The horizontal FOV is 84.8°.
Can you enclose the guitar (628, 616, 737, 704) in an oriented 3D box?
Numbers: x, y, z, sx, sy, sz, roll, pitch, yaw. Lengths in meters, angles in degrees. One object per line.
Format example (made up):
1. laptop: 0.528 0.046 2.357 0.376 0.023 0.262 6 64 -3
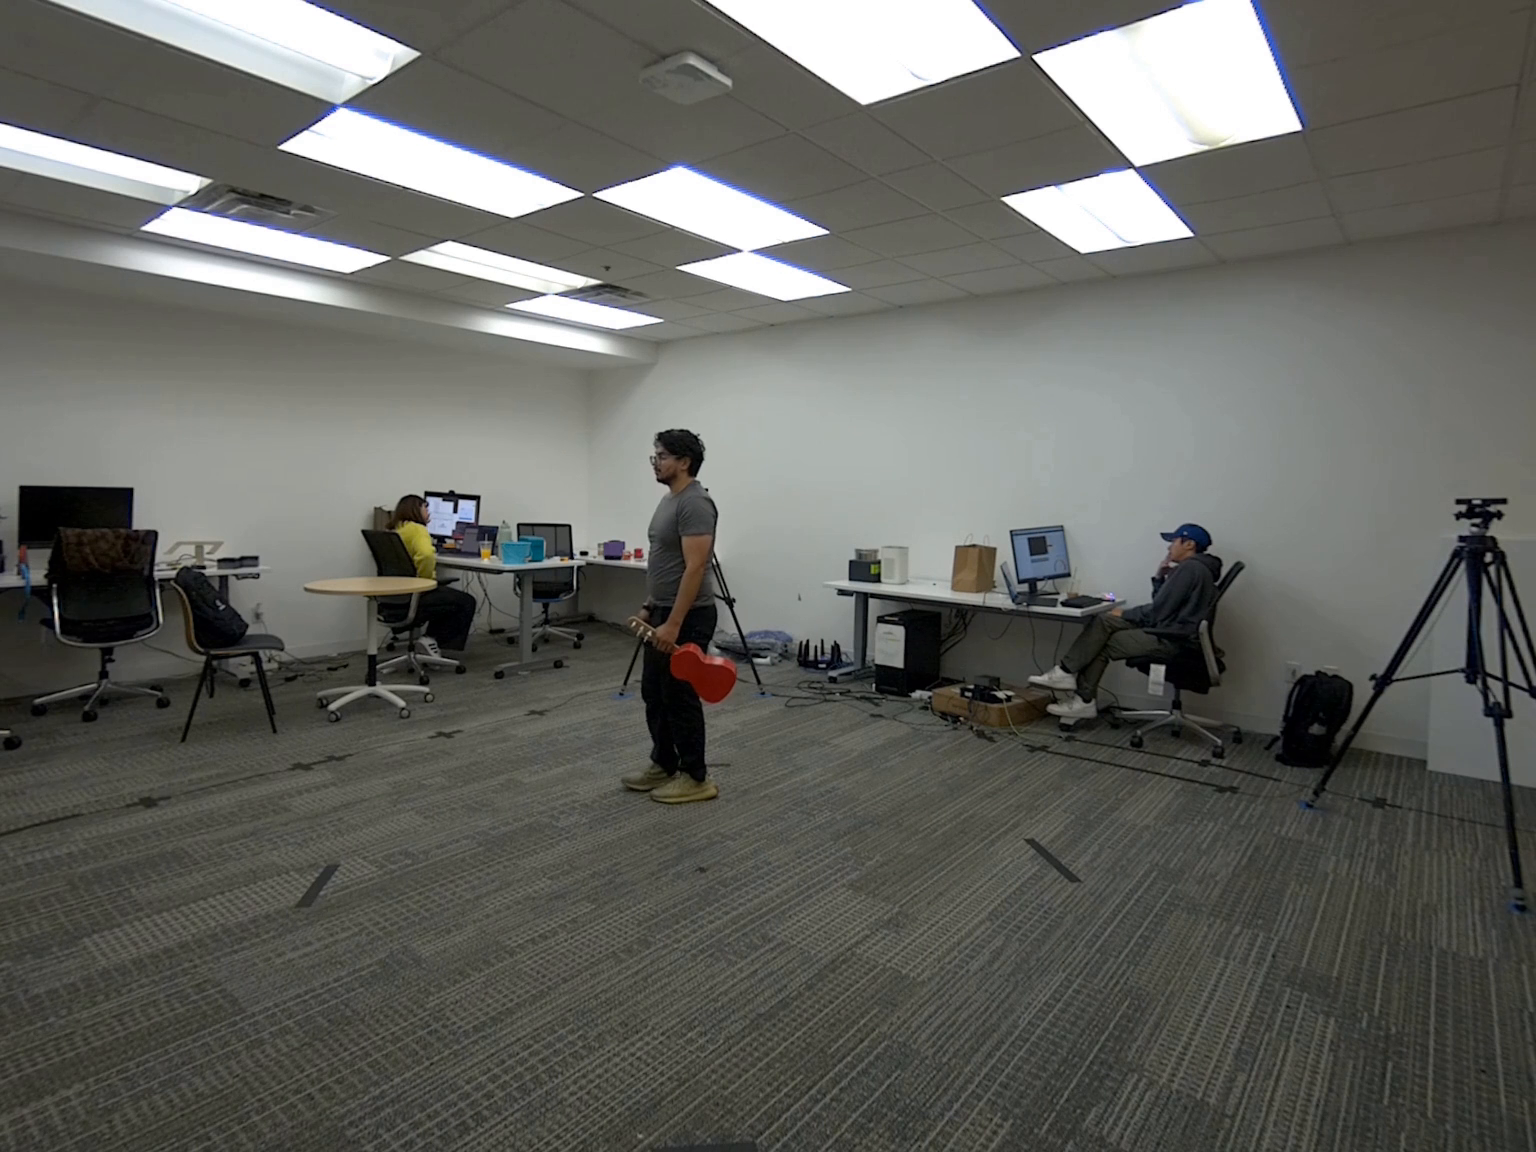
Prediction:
1. guitar: -0.383 0.344 3.467 0.495 0.191 0.071 25 22 -3
